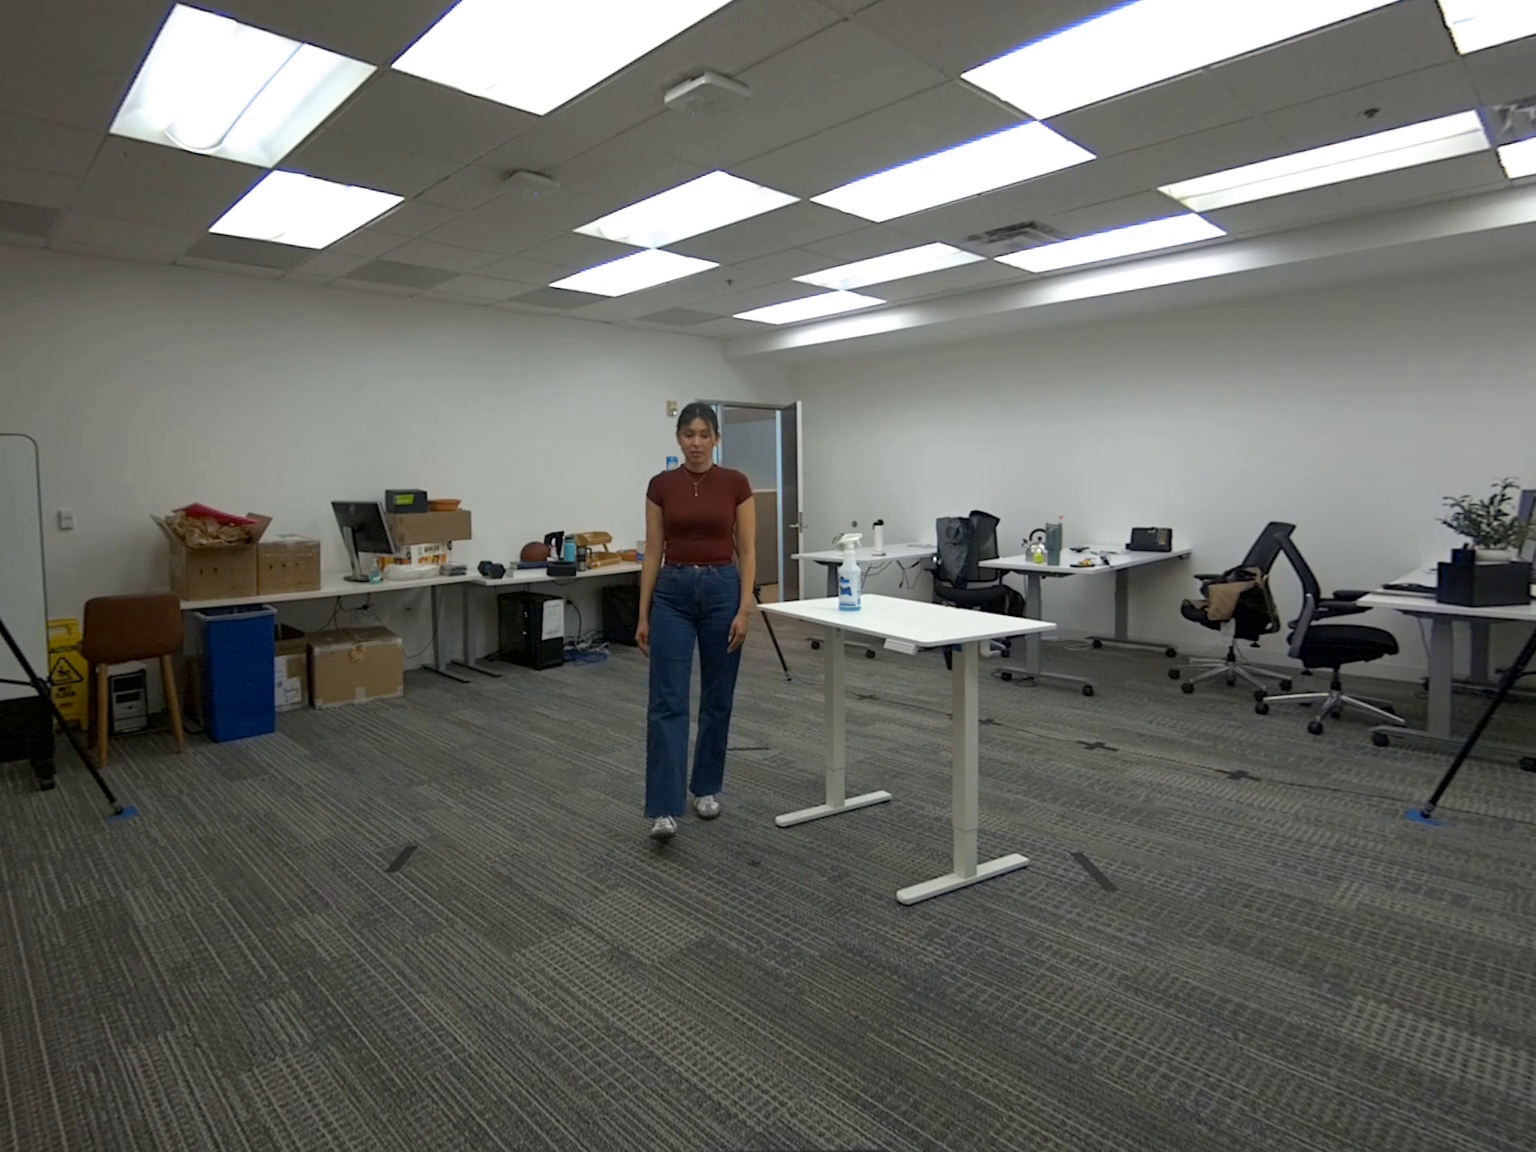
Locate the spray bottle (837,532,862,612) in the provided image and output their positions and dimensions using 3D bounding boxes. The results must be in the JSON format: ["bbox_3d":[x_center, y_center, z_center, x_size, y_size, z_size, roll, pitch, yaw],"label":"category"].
[{"bbox_3d":[0.326,-0.014,3.331,0.091,0.296,0.086,0,3,7],"label":"spray bottle"}]
